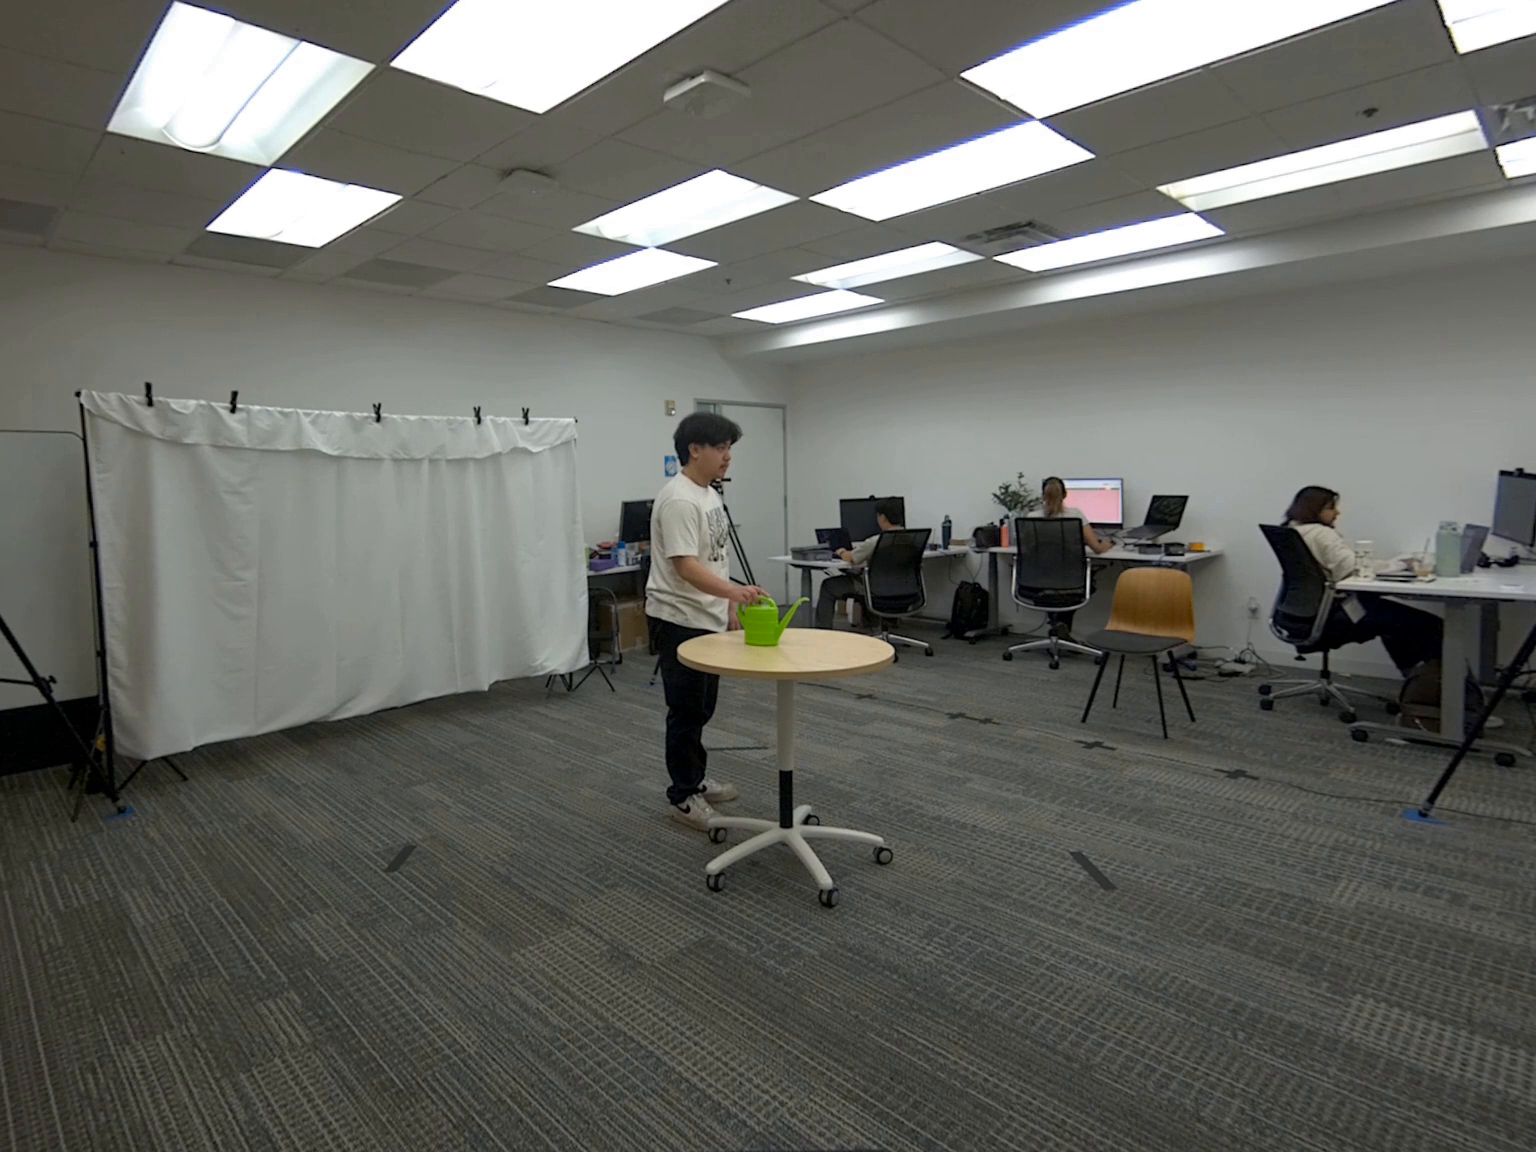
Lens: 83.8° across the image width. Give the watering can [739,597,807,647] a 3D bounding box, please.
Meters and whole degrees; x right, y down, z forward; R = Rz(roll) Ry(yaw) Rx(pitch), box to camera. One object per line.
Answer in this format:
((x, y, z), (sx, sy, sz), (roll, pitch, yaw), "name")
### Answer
((0.015, 0.165, 3.081), (0.286, 0.176, 0.095), (2, 5, 39), "watering can")
